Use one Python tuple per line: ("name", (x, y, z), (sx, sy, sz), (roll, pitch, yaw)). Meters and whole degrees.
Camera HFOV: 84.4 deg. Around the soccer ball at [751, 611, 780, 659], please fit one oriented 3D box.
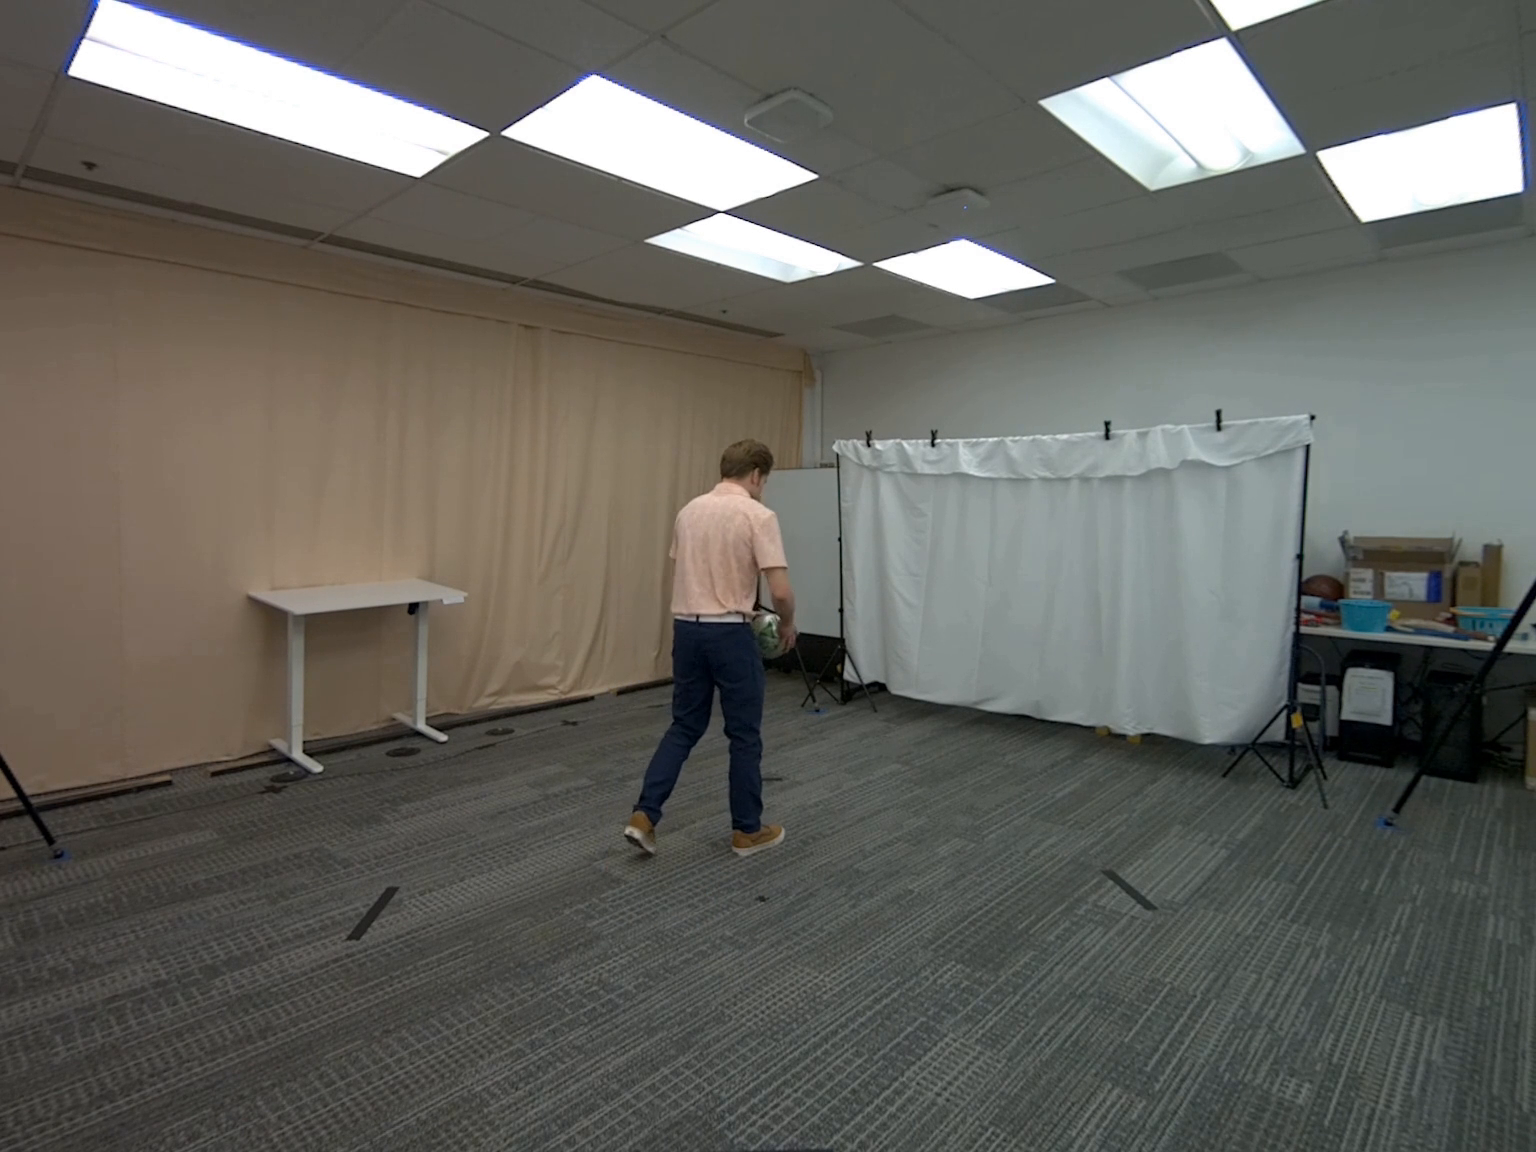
("soccer ball", (-0.019, 0.255, 3.548), (0.187, 0.187, 0.188), (0, 4, -2))
